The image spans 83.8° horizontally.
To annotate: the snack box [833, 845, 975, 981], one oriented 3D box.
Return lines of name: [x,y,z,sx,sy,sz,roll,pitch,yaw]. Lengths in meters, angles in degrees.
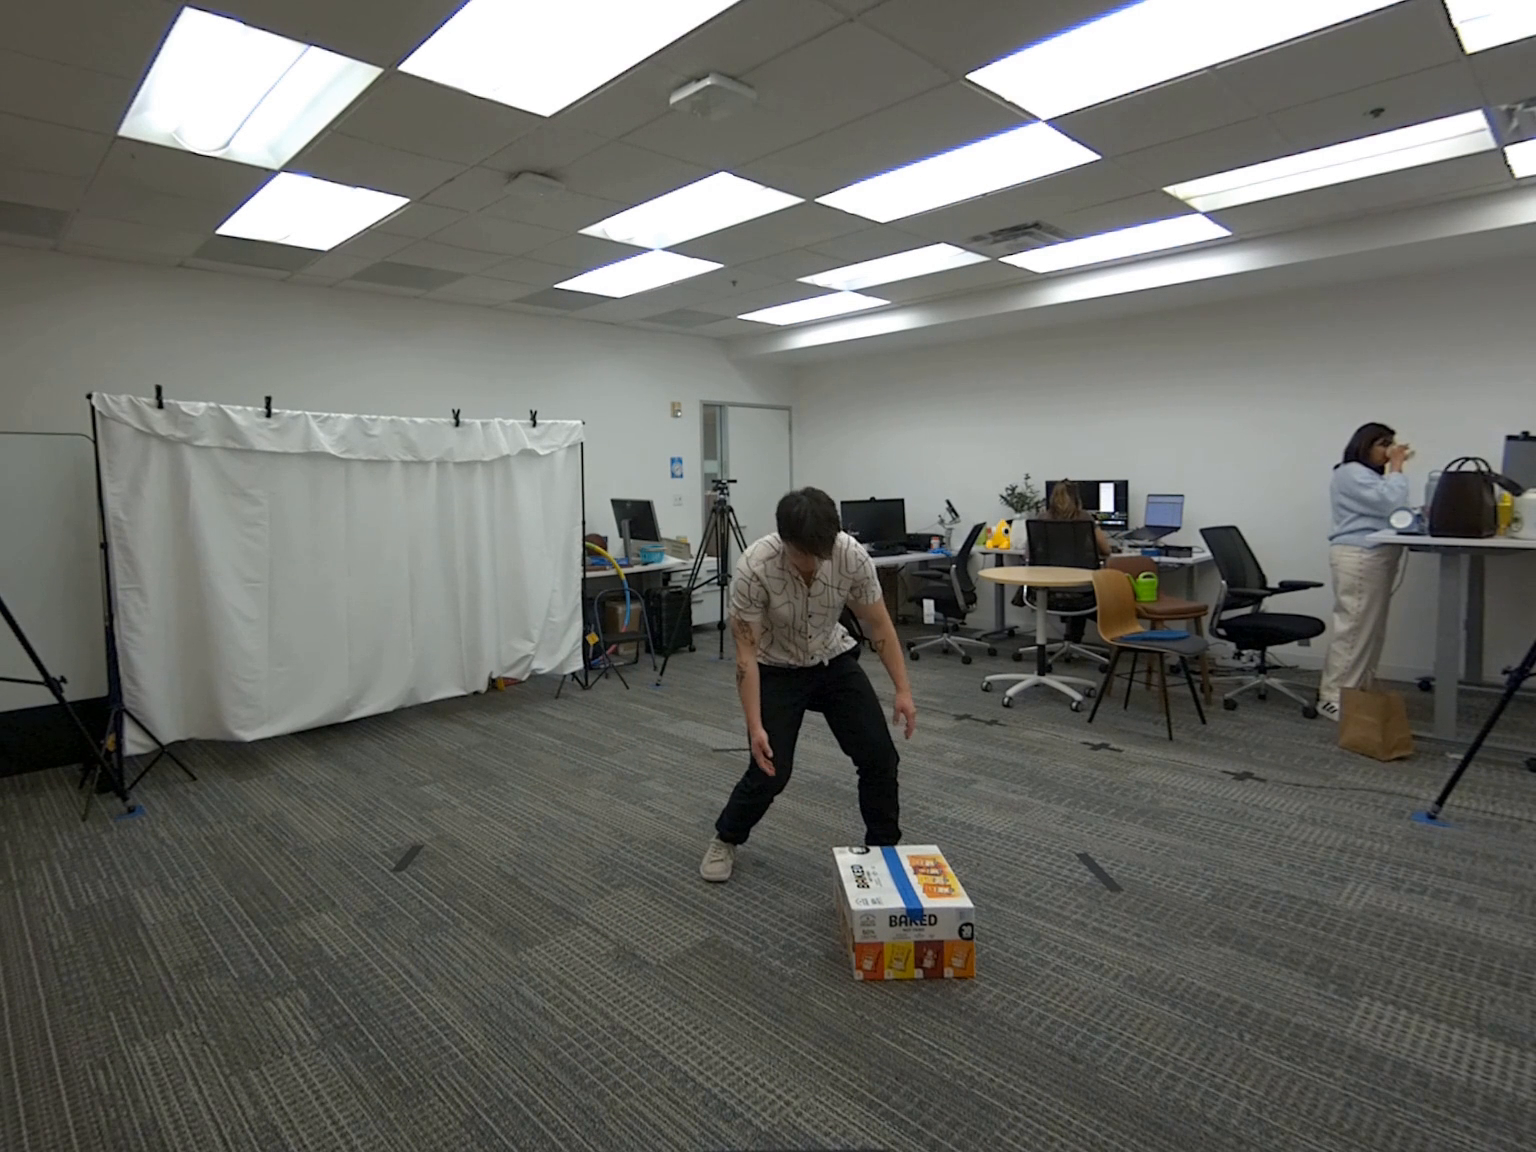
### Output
snack box: [0.397,1.001,2.565,0.340,0.205,0.408,-1,6,-2]
